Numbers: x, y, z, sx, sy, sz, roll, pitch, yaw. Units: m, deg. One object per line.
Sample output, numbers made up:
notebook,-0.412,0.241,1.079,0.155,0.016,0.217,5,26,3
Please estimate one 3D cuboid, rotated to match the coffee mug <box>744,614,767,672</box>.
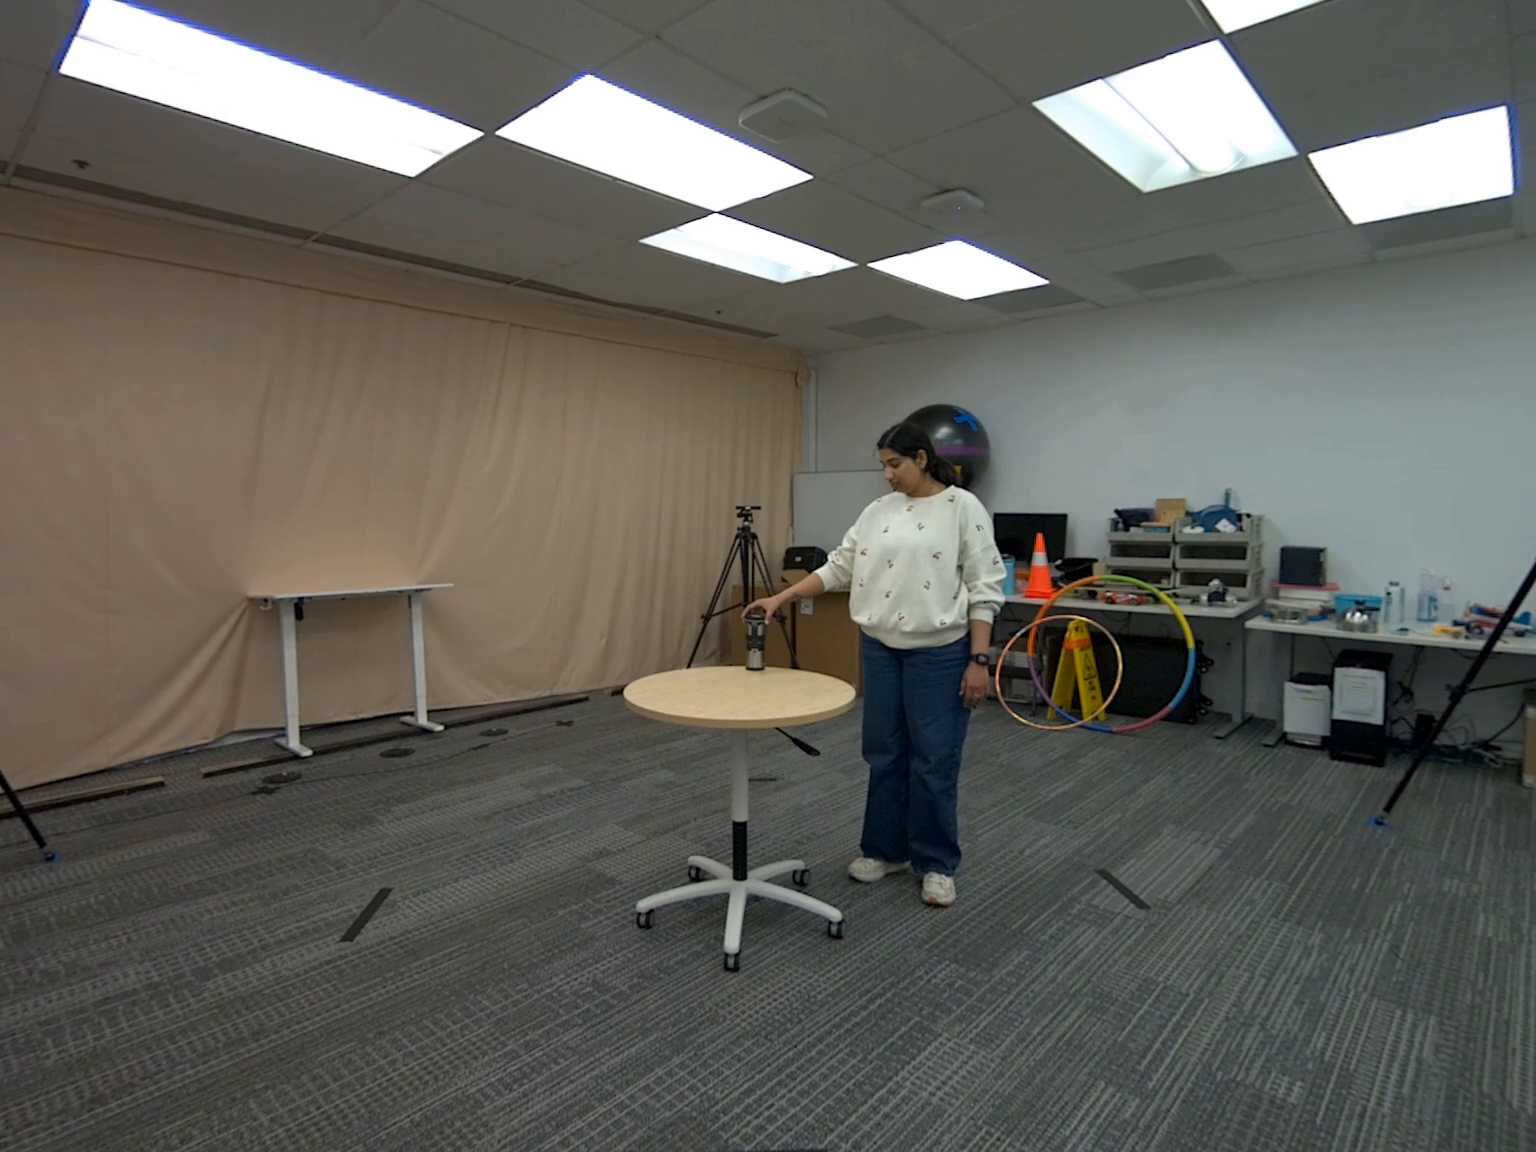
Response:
coffee mug,-0.053,0.251,3.103,0.091,0.202,0.118,5,5,35
